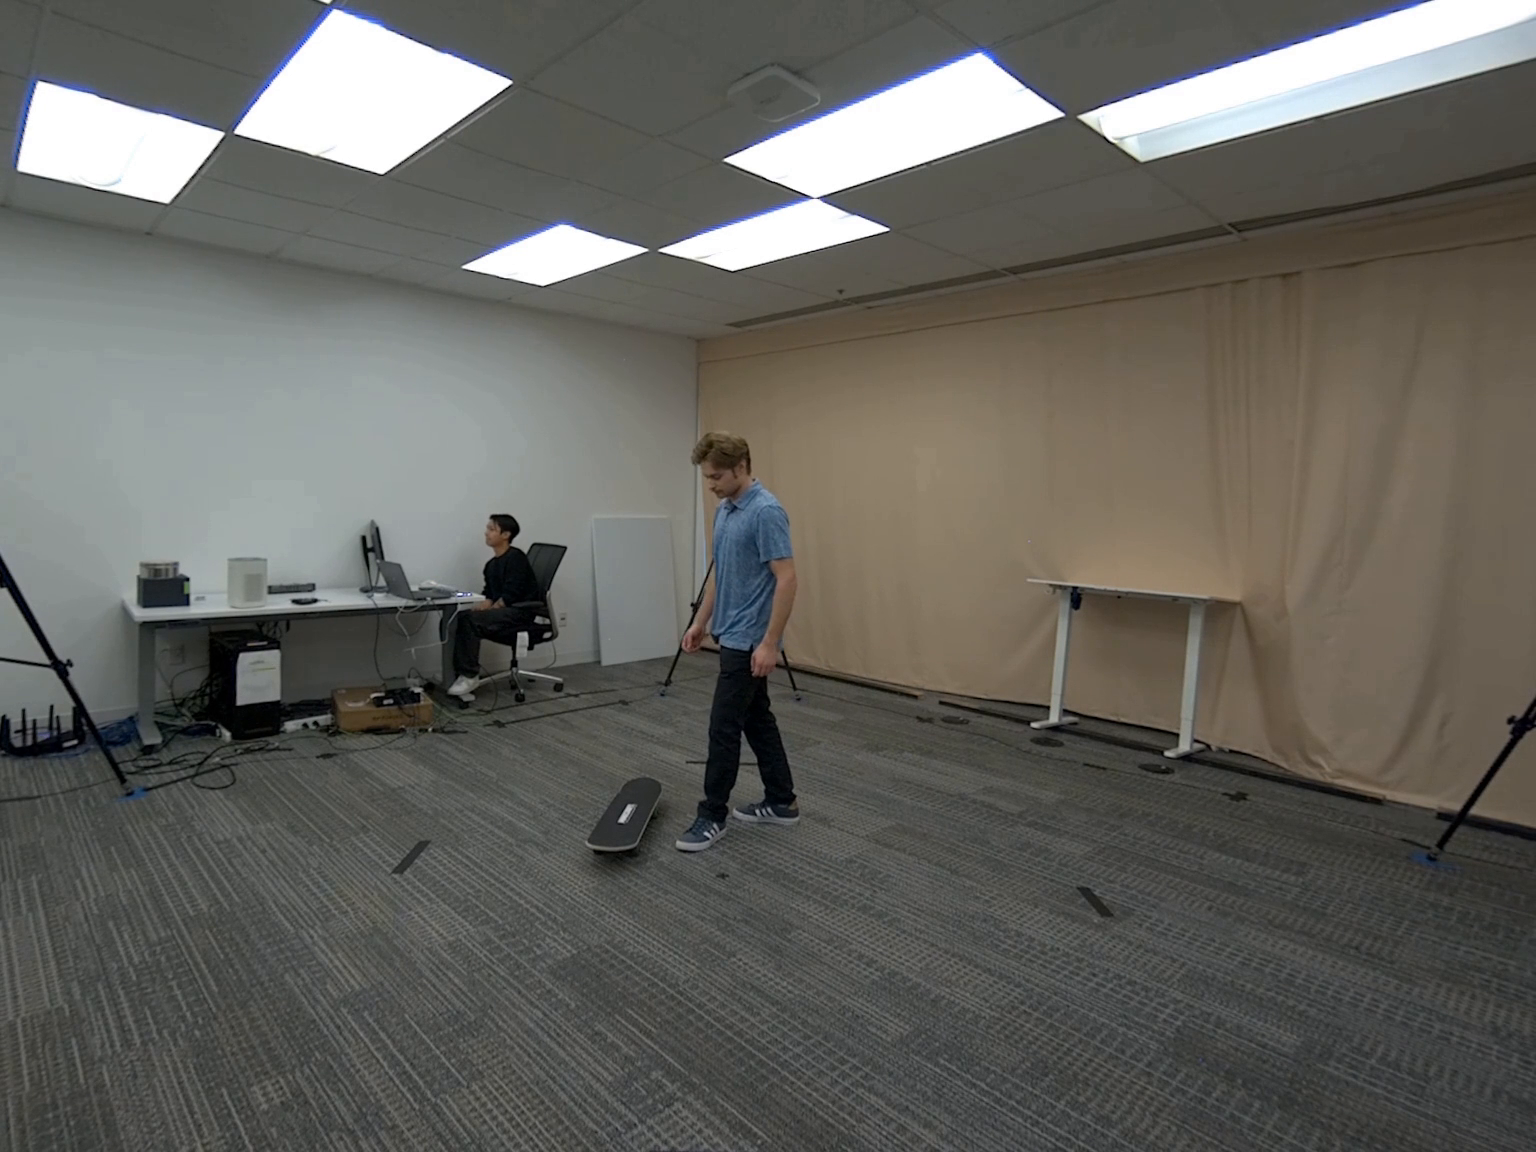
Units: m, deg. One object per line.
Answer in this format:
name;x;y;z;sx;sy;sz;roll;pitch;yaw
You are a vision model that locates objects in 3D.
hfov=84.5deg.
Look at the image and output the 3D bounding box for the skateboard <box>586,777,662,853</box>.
skateboard;-0.594;1.011;3.466;0.194;0.110;0.785;1;5;2
